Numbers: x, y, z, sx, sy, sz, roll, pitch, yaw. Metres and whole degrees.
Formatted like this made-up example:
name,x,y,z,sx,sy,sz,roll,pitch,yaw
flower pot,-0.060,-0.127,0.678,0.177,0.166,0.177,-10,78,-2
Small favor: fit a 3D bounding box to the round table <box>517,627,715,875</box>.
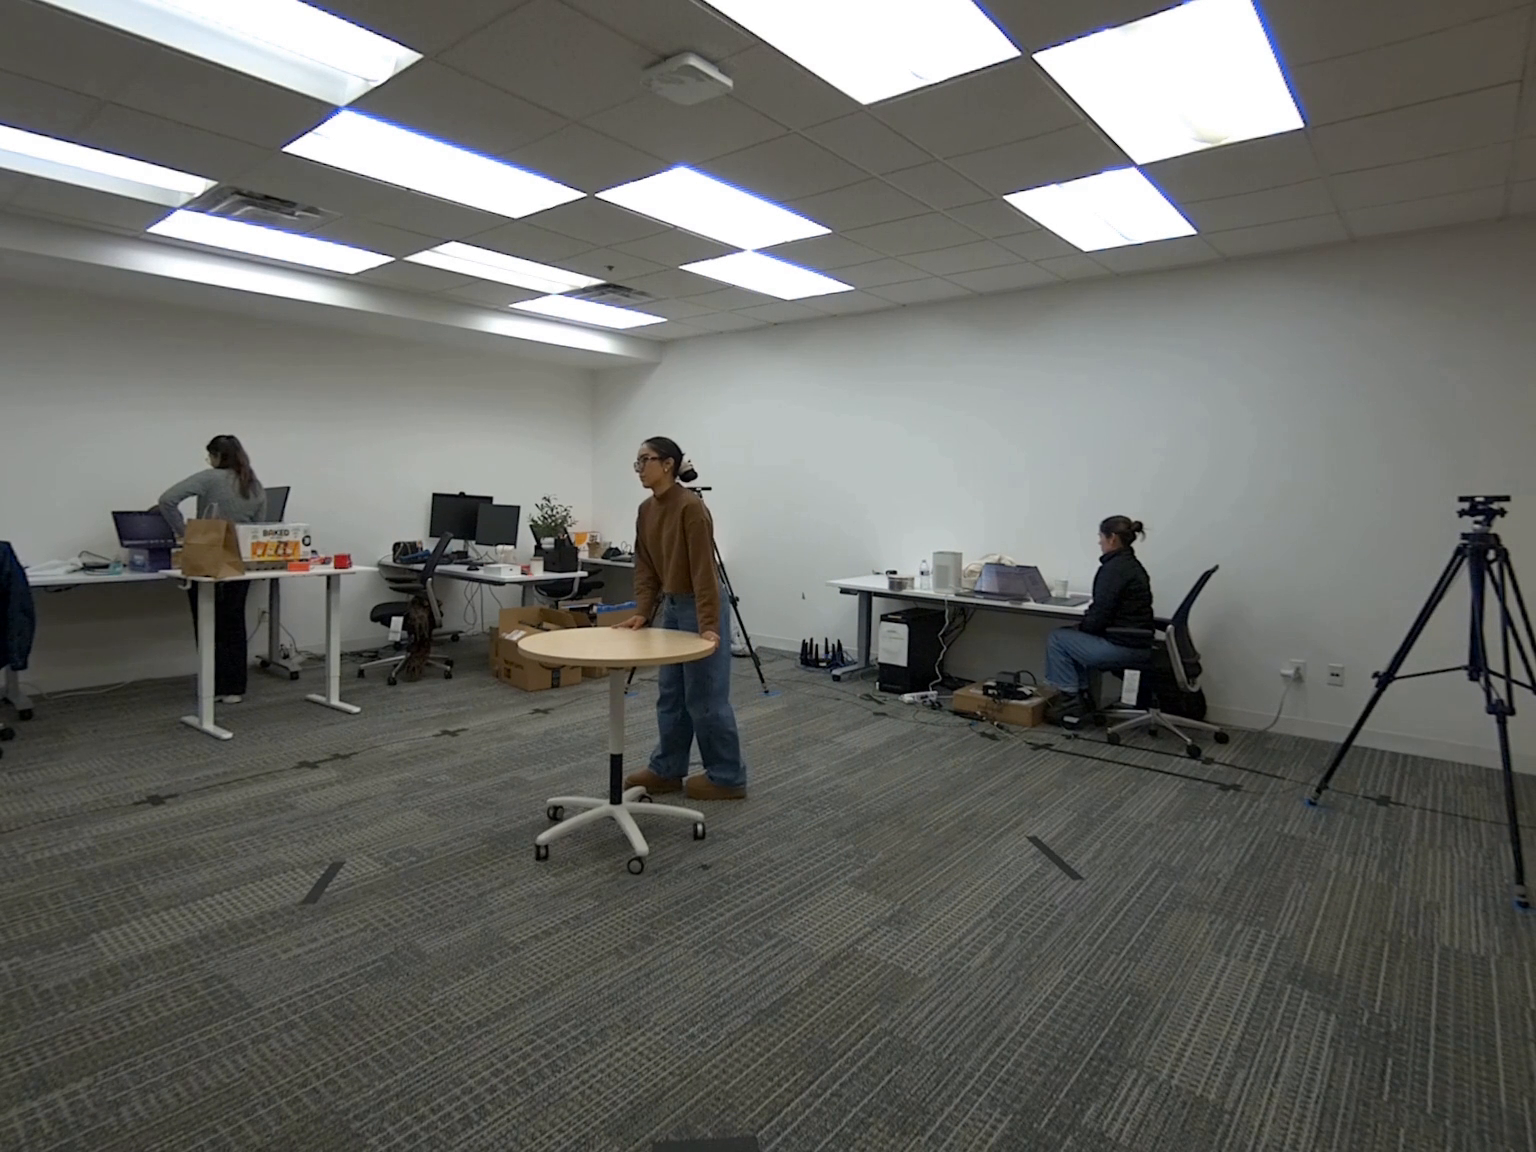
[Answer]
name,x,y,z,sx,sy,sz,roll,pitch,yaw
round table,-0.620,0.642,3.364,0.784,0.784,0.788,1,3,-2
